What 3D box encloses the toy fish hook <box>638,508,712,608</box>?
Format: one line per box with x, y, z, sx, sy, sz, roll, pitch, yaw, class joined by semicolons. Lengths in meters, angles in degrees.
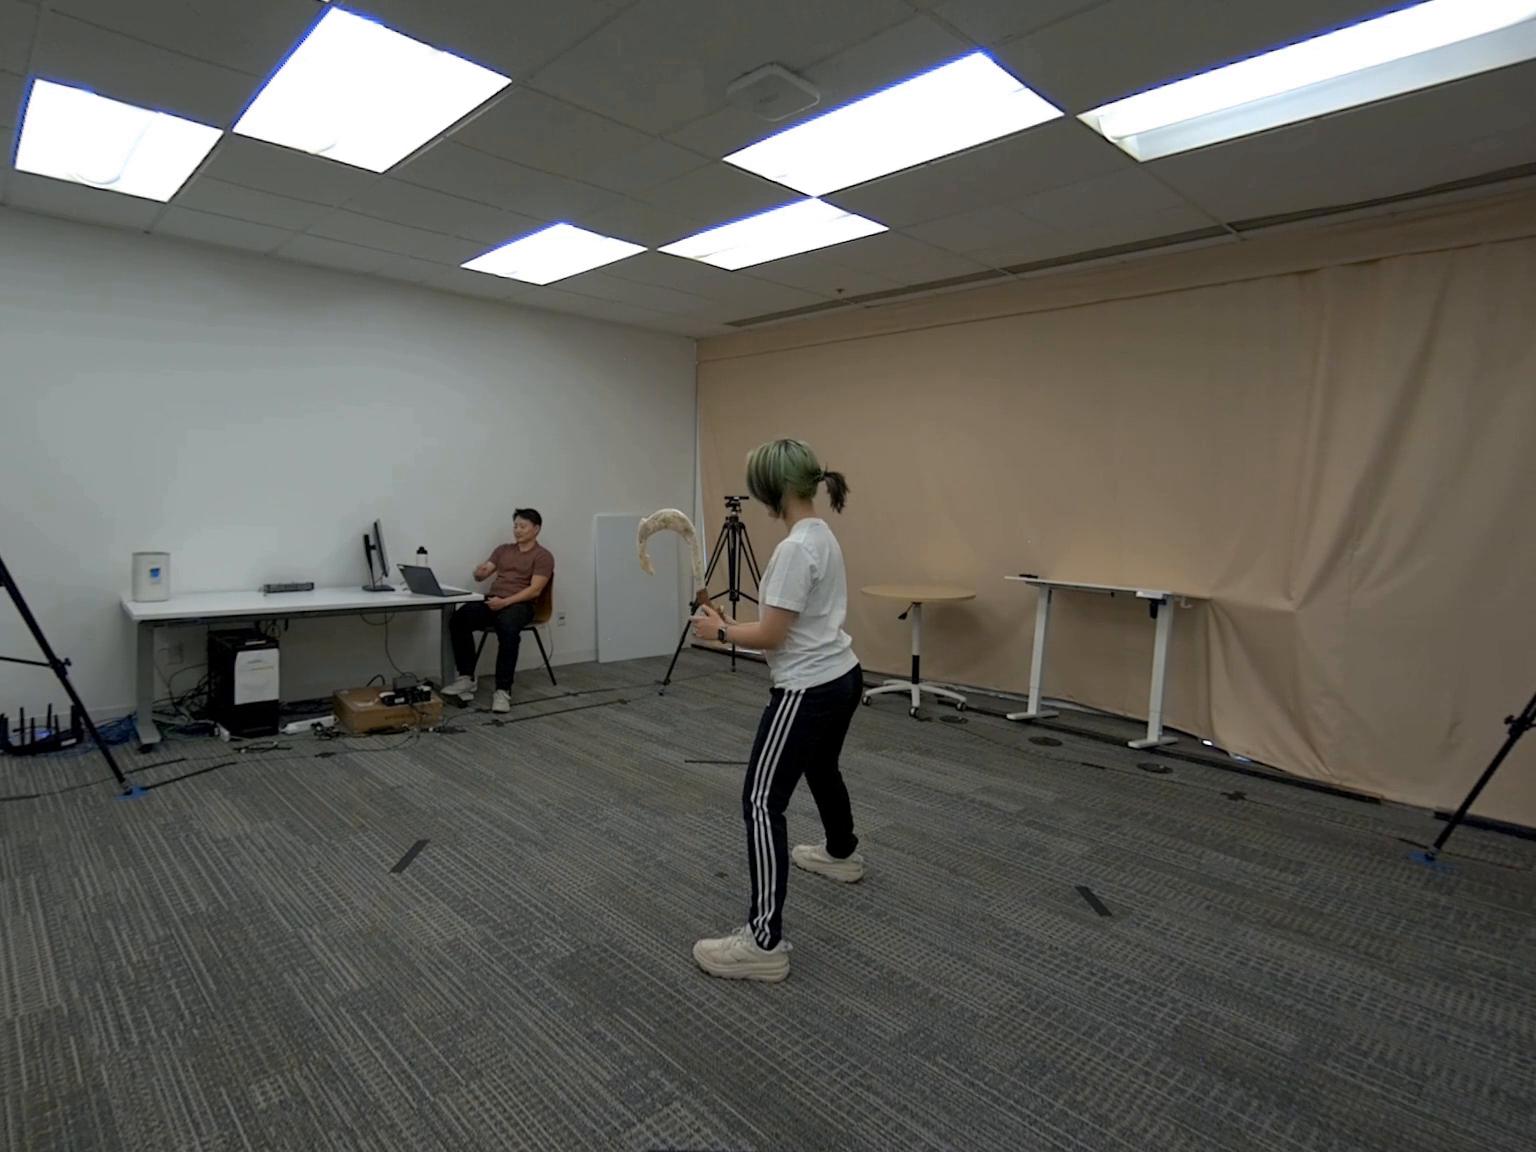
-0.295;0.020;2.889;0.225;0.509;0.048;-23;-4;6;toy fish hook
